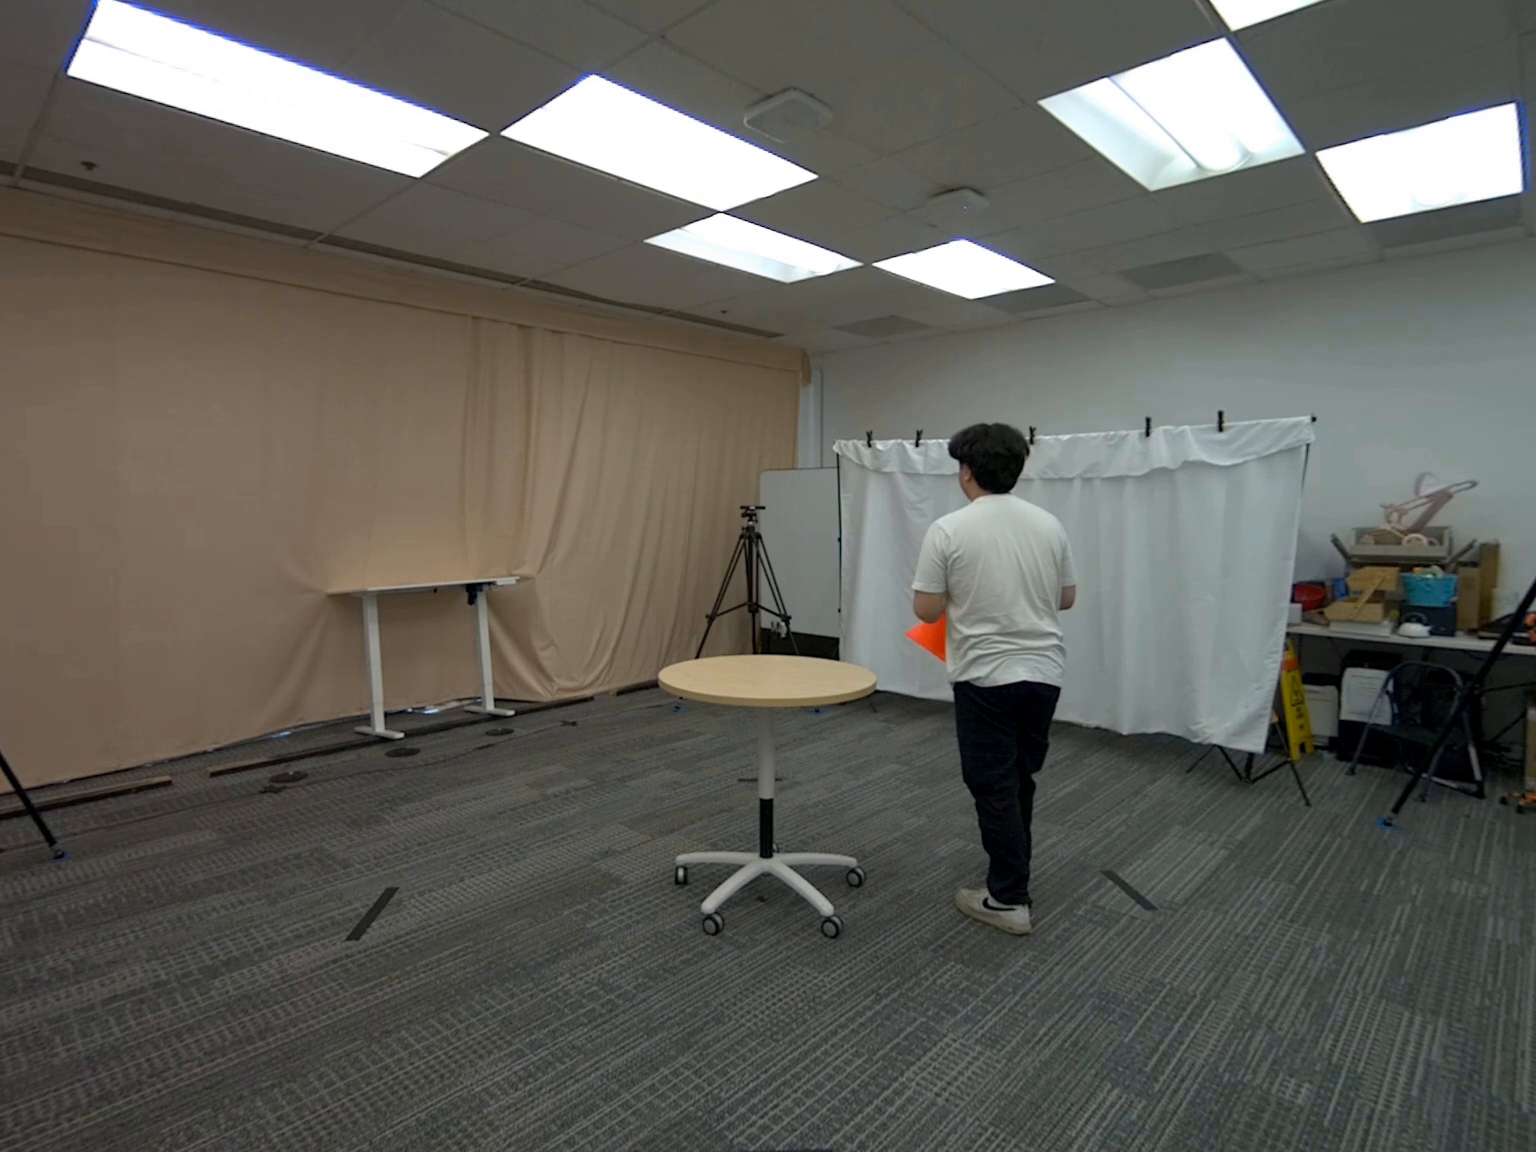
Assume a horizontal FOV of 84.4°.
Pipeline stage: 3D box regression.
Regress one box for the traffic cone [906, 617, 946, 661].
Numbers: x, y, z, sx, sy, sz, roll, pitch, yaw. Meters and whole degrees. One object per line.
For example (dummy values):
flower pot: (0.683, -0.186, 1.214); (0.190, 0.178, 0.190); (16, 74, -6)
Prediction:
traffic cone: (0.699, 0.089, 3.126); (0.211, 0.379, 0.199); (30, 35, 28)
